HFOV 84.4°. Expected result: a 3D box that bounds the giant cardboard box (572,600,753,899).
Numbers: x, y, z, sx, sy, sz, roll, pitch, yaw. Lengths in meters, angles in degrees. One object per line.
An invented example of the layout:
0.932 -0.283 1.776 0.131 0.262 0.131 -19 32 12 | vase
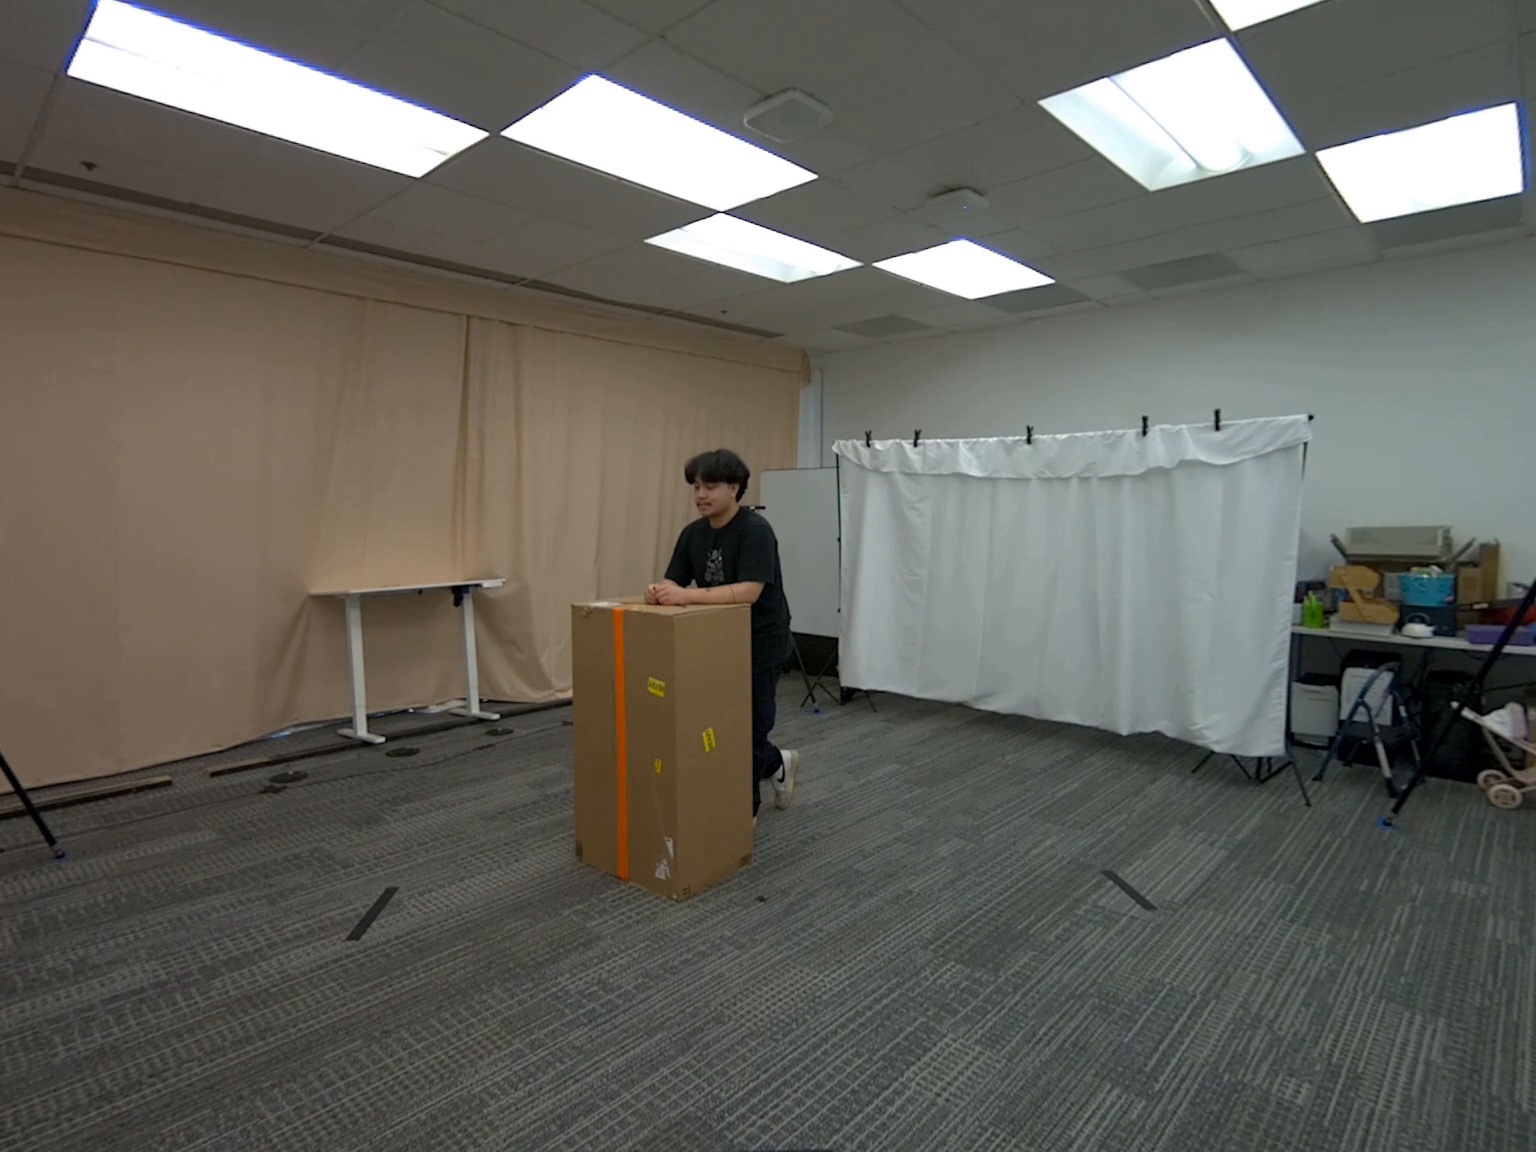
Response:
-0.420 0.613 3.282 0.603 1.025 0.433 2 4 41 | giant cardboard box
